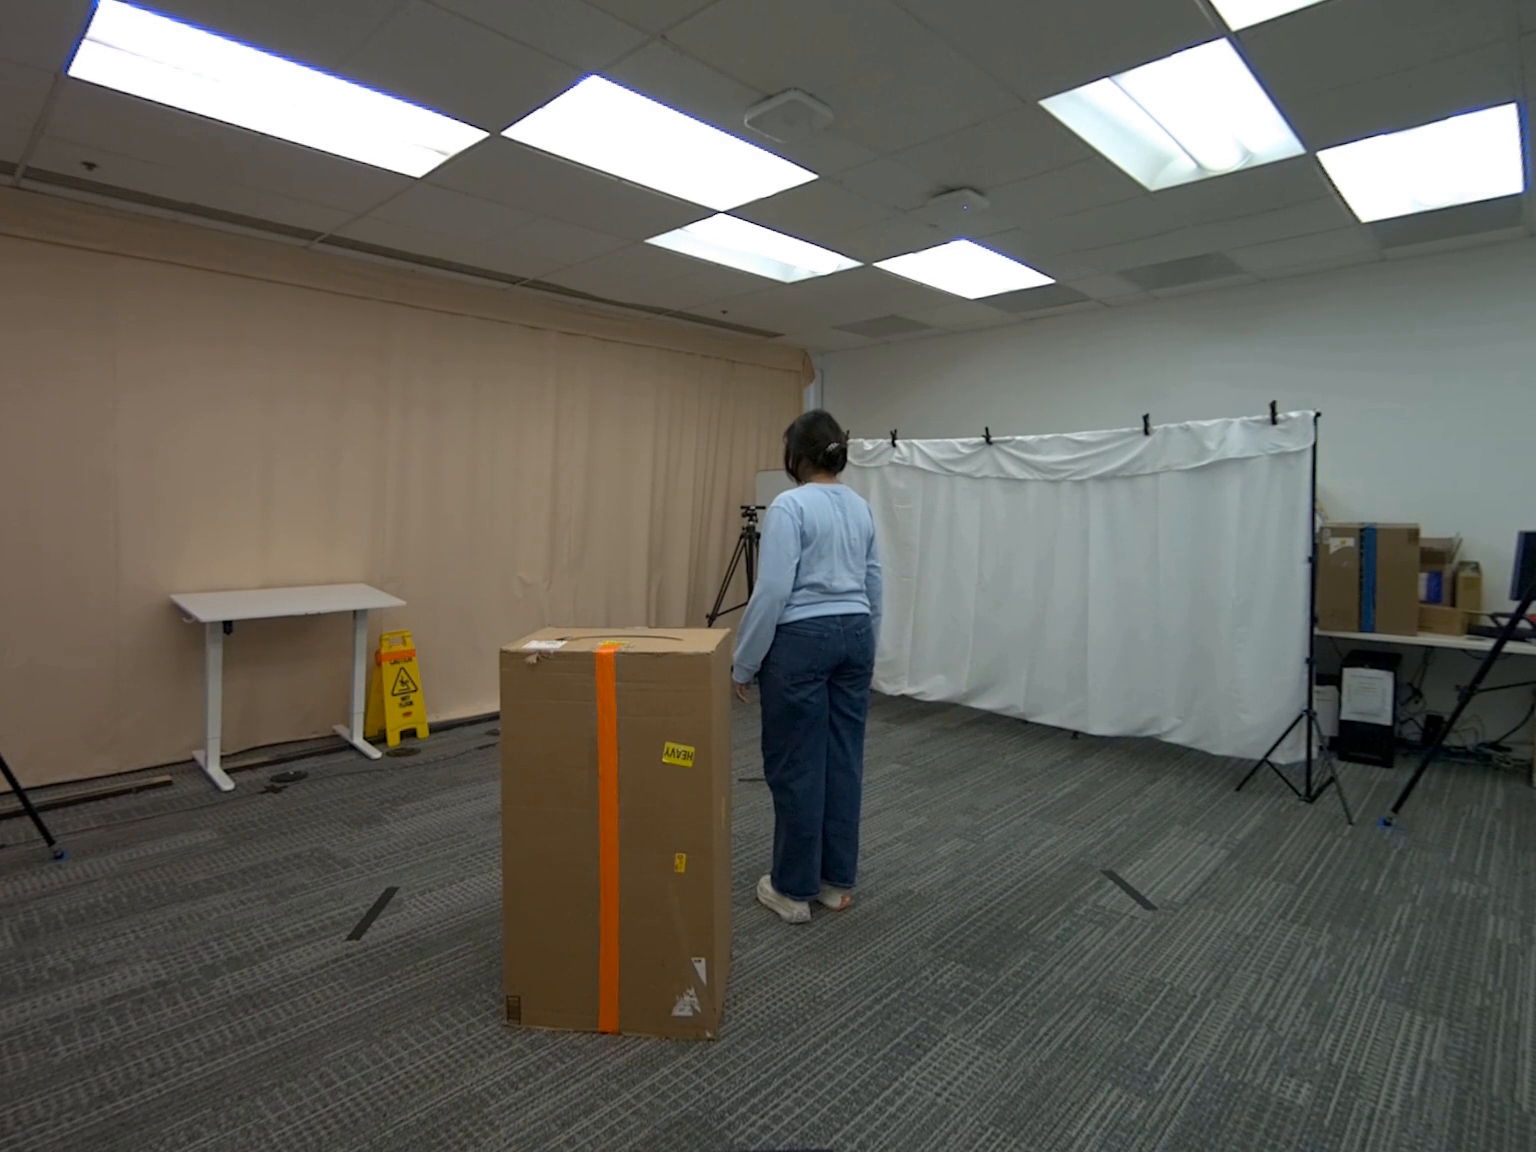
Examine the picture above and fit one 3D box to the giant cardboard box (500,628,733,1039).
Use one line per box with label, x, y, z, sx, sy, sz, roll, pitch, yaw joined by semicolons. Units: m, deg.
giant cardboard box;-0.412;0.686;2.402;0.582;1.024;0.424;0;3;6
